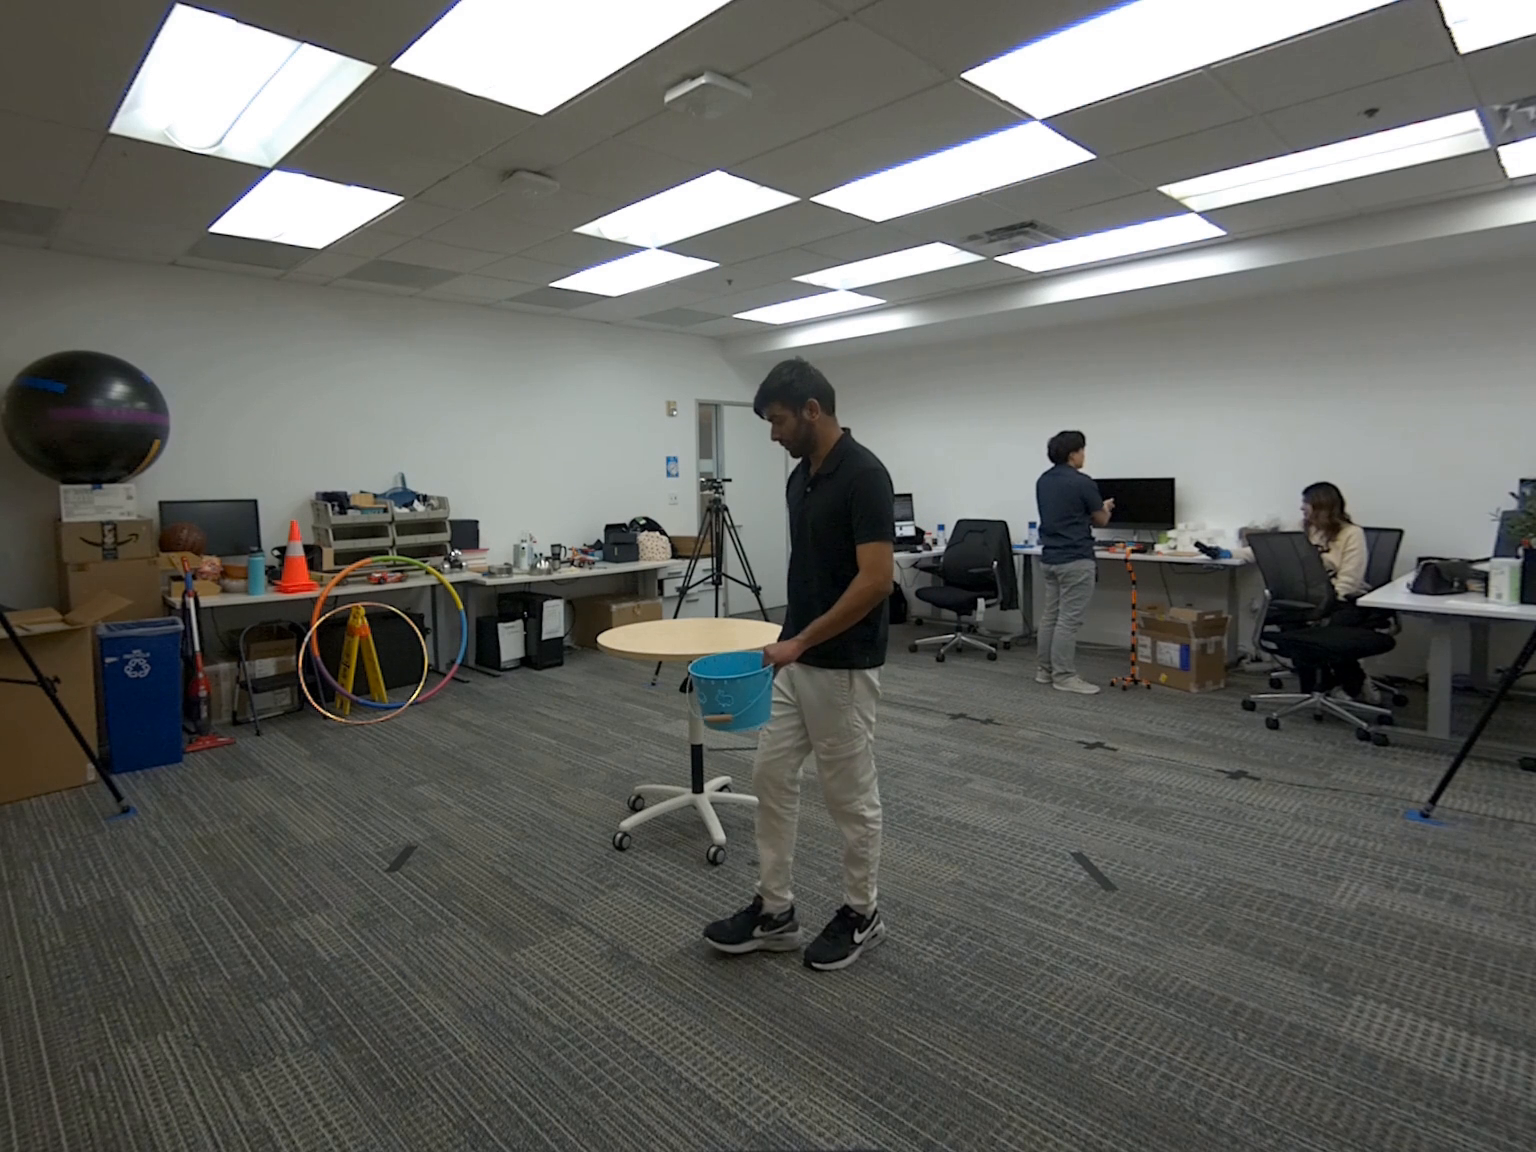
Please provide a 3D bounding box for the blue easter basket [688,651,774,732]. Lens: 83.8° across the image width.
[{"bbox_3d":[-0.095,0.301,2.242,0.243,0.155,0.245,-5,7,-1],"label":"blue easter basket"}]
